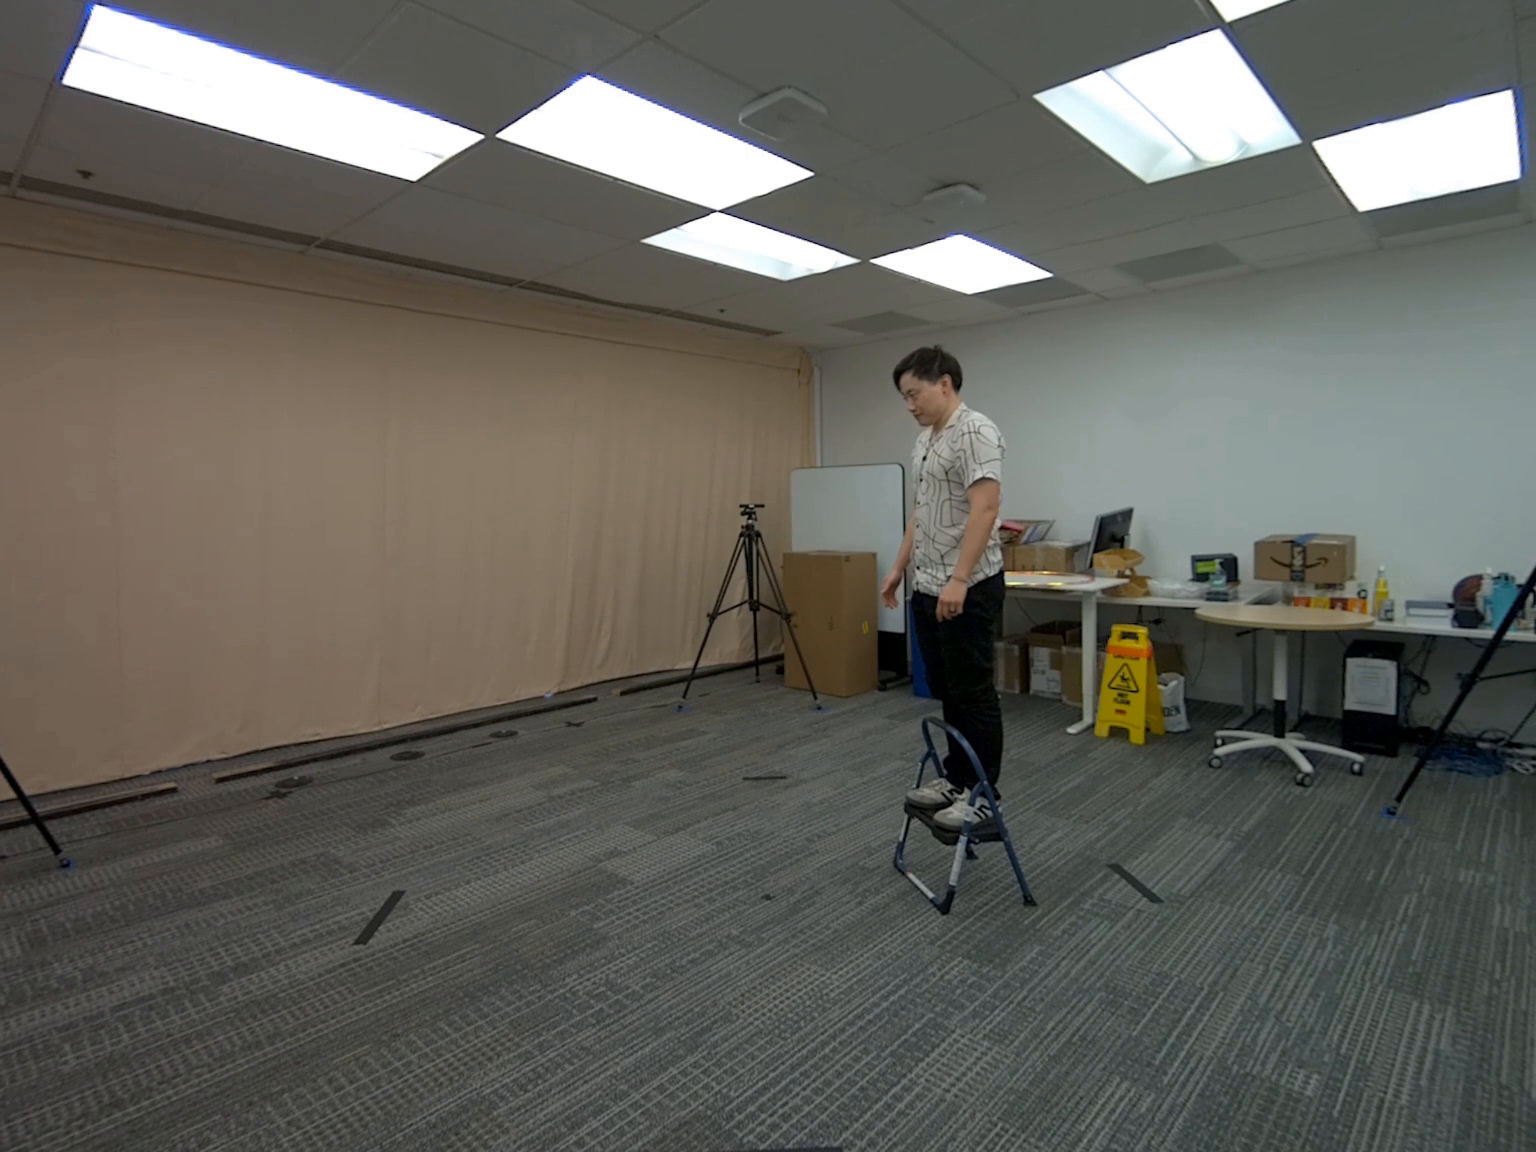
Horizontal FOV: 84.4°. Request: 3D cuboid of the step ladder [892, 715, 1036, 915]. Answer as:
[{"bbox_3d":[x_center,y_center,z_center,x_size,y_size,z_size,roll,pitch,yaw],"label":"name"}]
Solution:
[{"bbox_3d":[0.701,0.822,3.045,0.344,0.605,0.438,-1,4,-15],"label":"step ladder"}]
